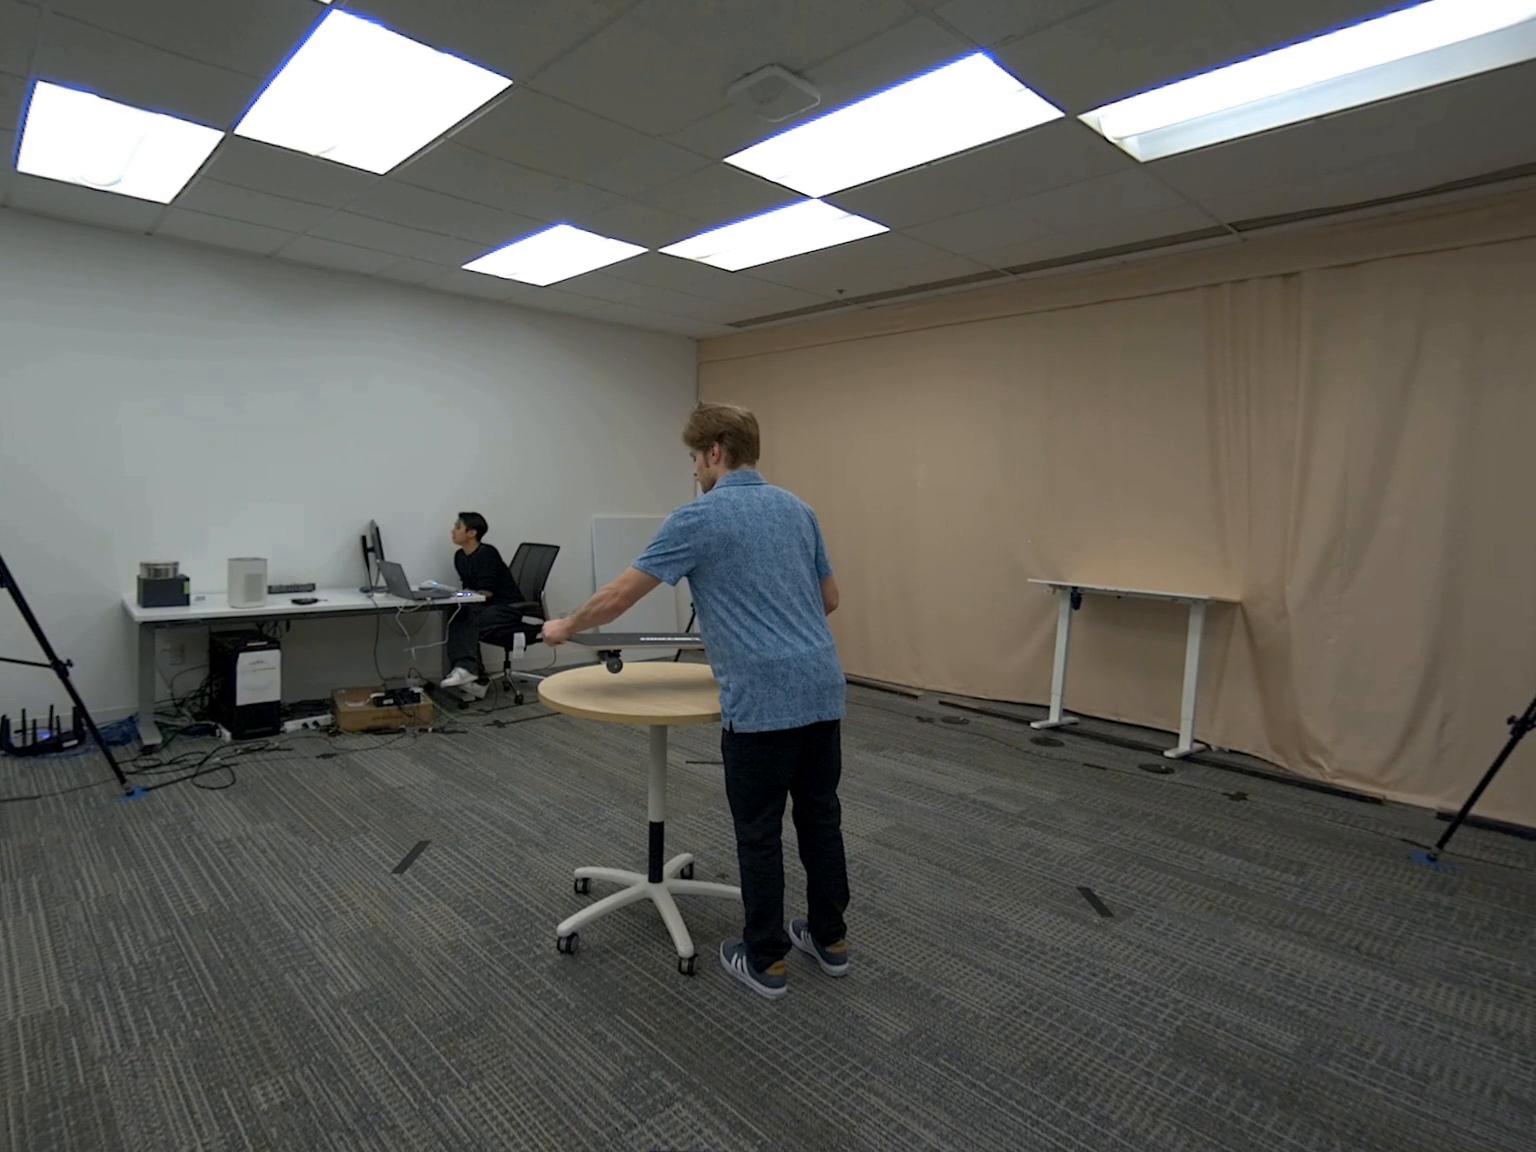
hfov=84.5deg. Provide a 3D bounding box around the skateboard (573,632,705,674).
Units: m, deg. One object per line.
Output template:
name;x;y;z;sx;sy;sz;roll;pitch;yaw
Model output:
skateboard;-0.321;0.241;2.714;0.772;0.110;0.197;2;7;-23
